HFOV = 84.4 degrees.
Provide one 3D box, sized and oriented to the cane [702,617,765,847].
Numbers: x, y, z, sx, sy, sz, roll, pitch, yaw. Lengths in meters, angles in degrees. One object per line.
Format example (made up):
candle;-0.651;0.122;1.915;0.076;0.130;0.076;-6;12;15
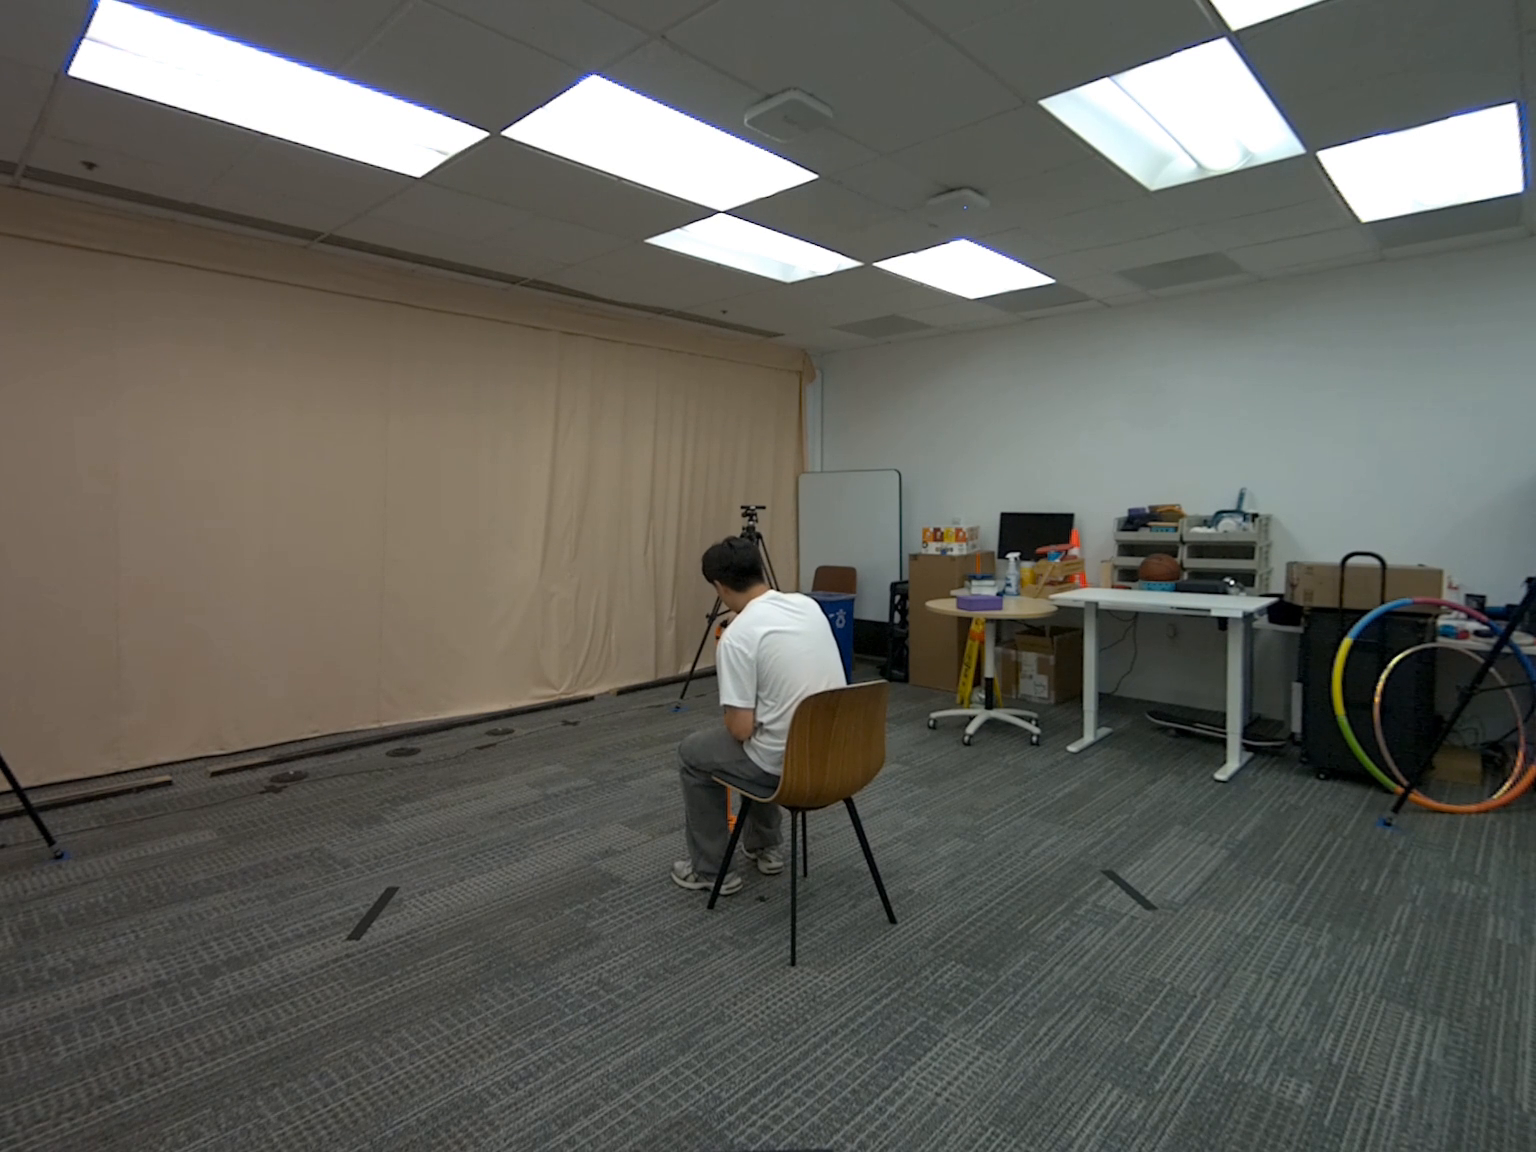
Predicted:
cane;-0.148;0.638;3.570;0.147;0.907;0.213;-2;3;-41
